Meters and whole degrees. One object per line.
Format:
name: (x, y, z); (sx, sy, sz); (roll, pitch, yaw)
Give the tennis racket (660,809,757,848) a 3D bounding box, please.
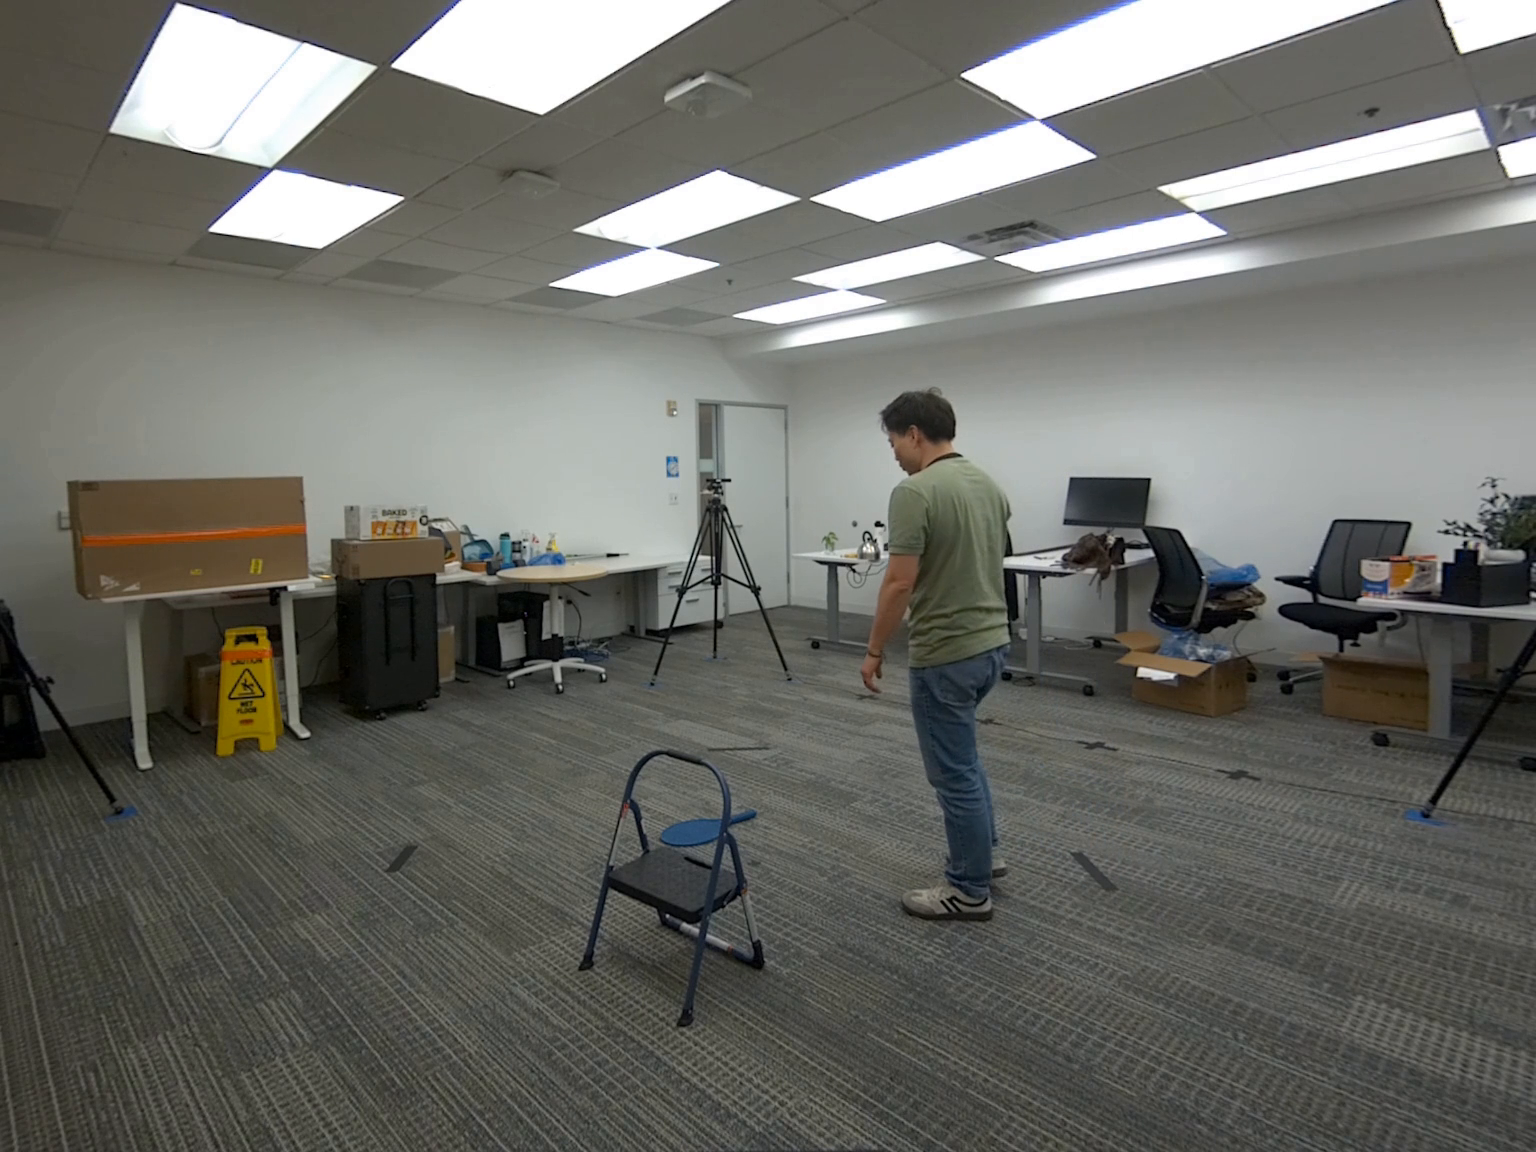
tennis racket: (-0.231, 1.001, 3.412); (0.422, 0.031, 0.220); (-7, 8, -35)
